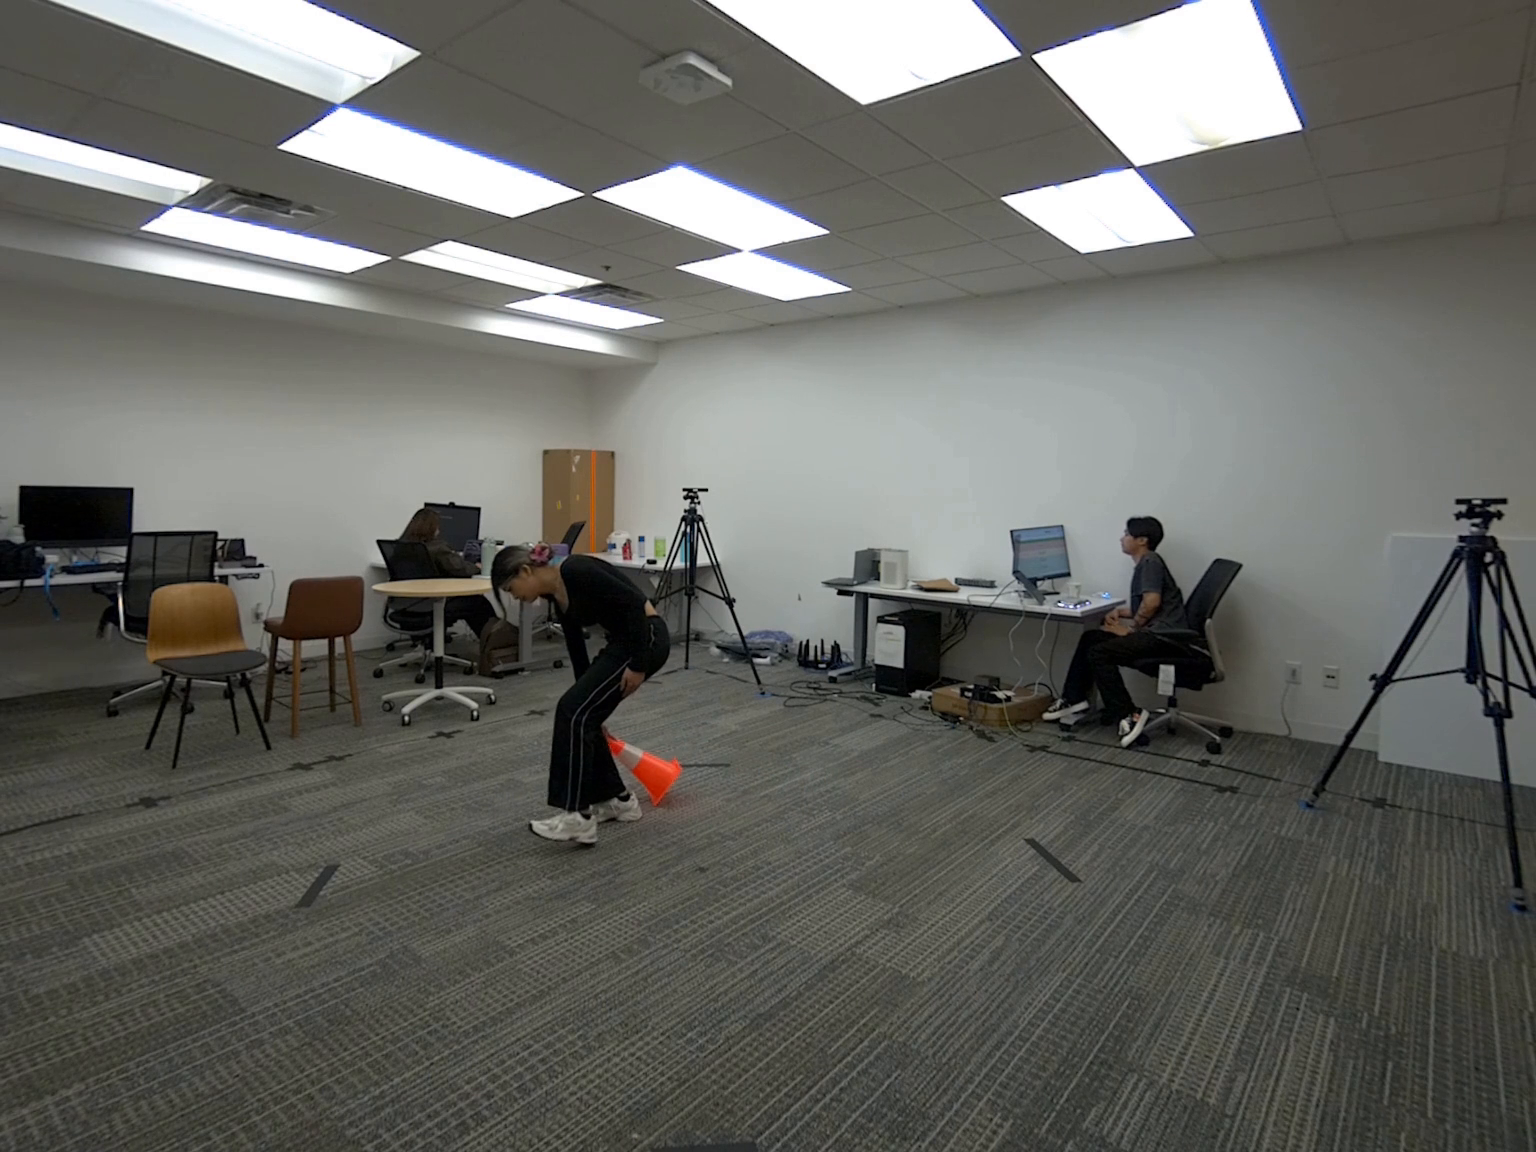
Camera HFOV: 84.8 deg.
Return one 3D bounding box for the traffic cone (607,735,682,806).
[{"bbox_3d":[-0.614,0.807,3.792,0.378,0.203,0.208,38,1,-10],"label":"traffic cone"}]
